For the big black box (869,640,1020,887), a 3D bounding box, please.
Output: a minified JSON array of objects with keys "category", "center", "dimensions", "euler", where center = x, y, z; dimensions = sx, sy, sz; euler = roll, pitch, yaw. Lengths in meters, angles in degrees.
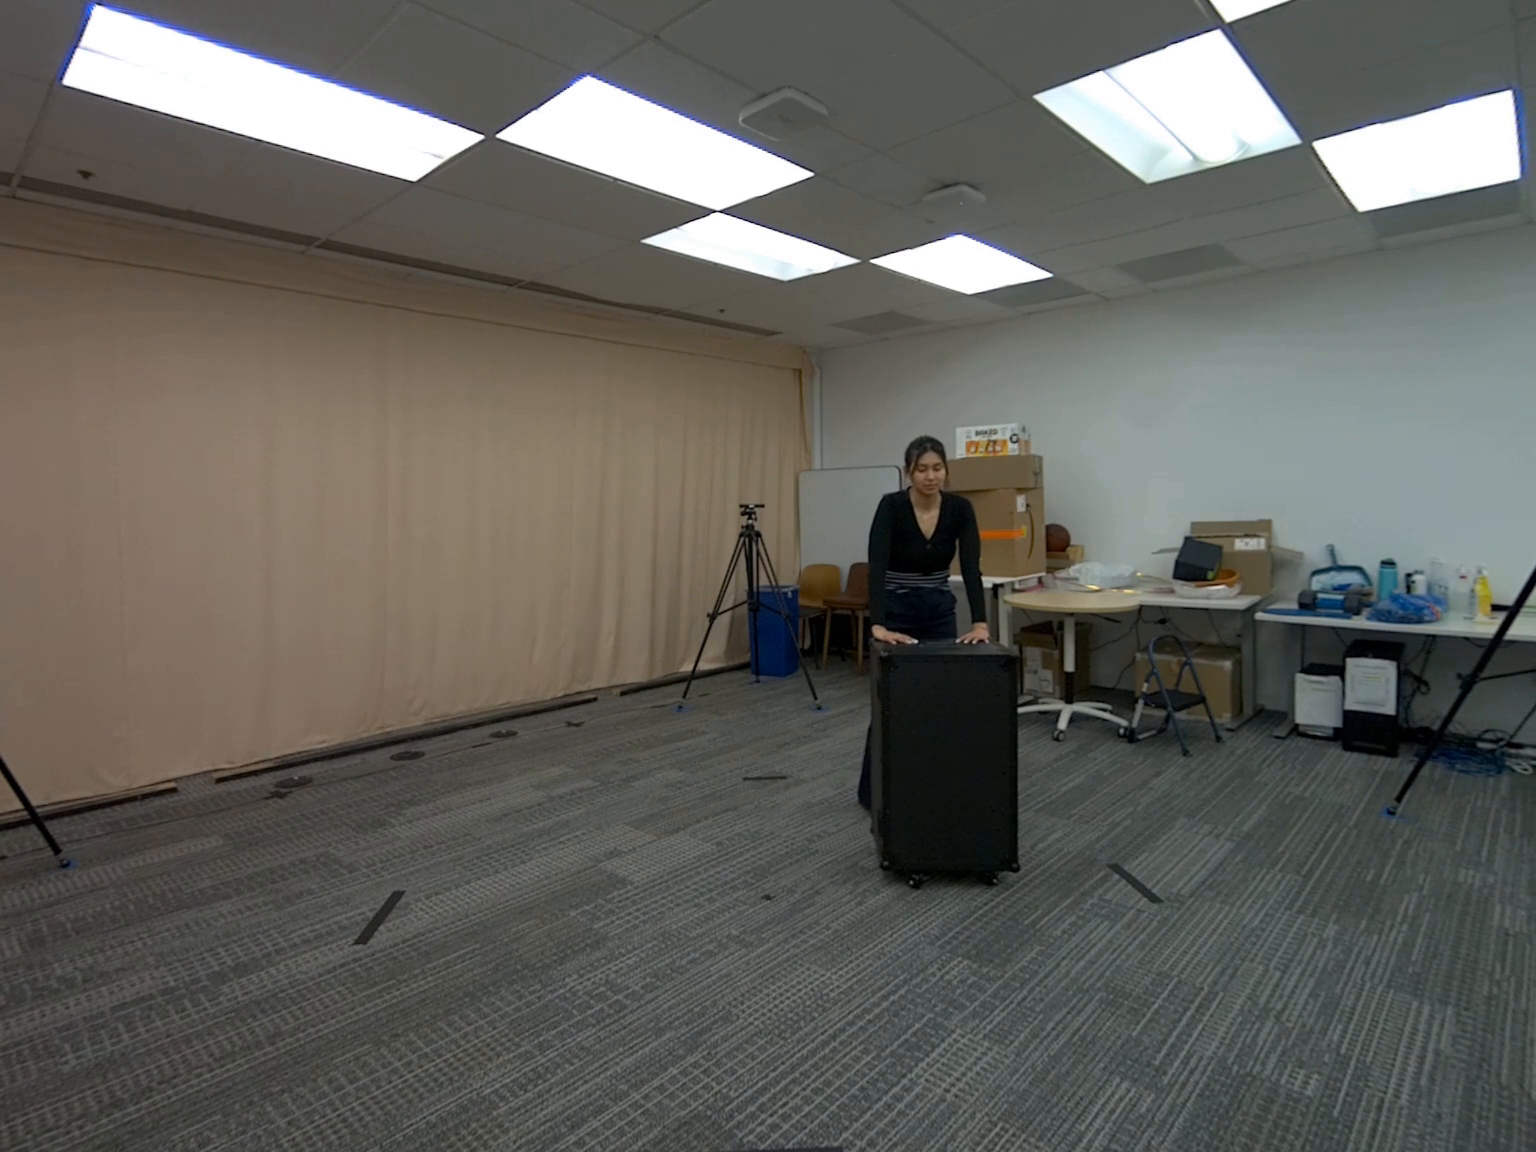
[{"category":"big black box","center":[0.642,0.683,3.178],"dimensions":[0.523,0.860,0.396],"euler":[-1,2,2]}]
